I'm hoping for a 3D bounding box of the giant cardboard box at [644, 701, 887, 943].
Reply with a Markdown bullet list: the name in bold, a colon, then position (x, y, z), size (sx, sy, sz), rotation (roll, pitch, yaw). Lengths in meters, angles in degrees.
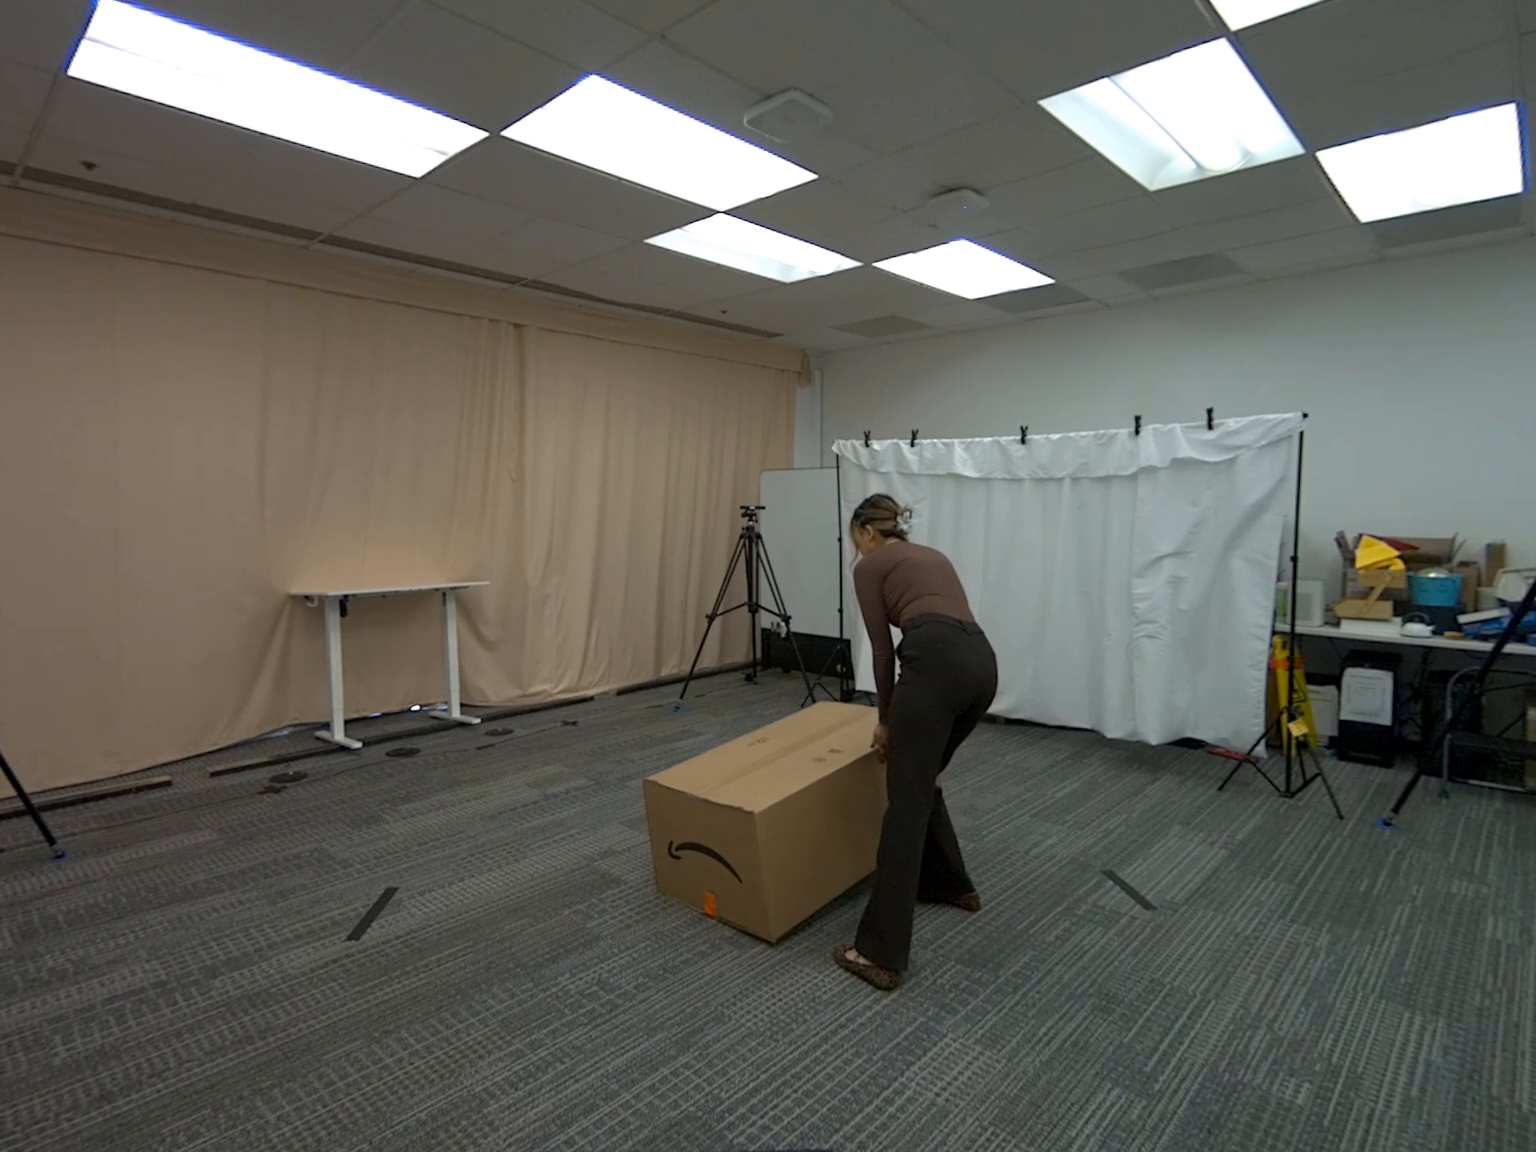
- **giant cardboard box**: position (0.125, 0.851, 3.170), size (0.602, 0.445, 0.999), rotation (-2, 8, 45)
